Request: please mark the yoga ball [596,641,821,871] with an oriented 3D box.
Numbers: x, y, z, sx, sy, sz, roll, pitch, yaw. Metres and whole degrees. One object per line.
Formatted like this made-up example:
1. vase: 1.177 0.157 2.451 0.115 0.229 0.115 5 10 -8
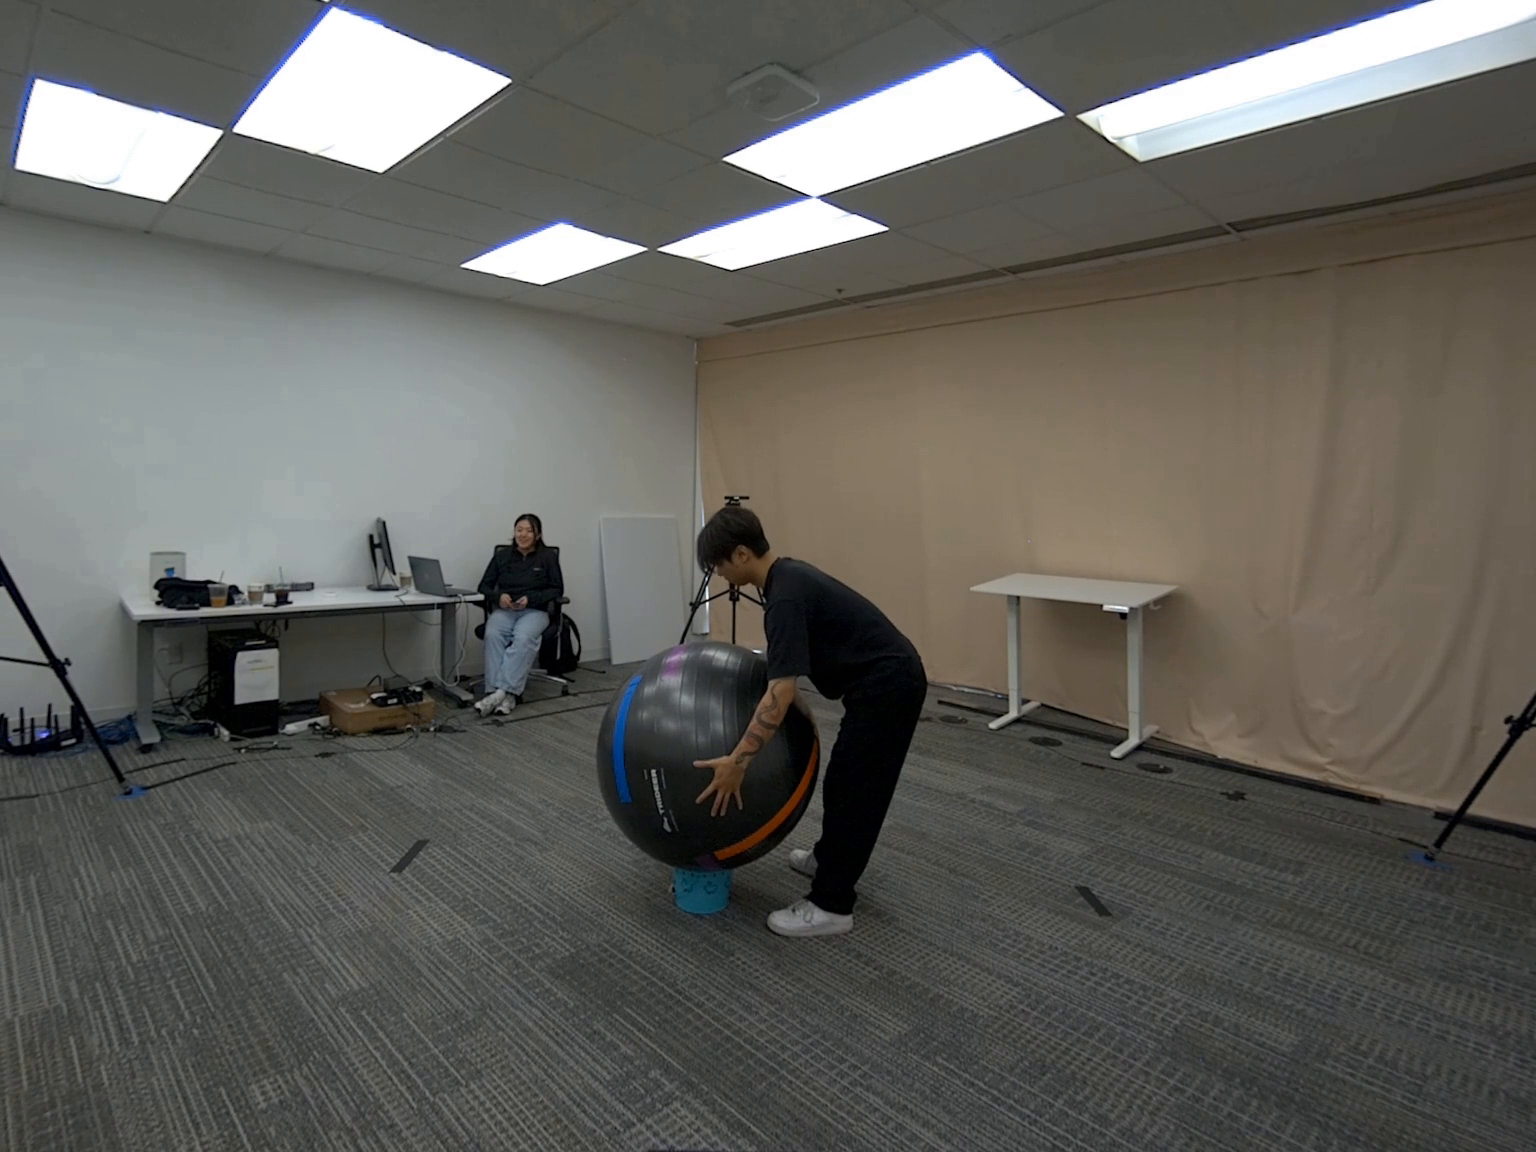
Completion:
1. yoga ball: -0.214 0.608 2.888 0.757 0.756 0.761 1 4 -1
